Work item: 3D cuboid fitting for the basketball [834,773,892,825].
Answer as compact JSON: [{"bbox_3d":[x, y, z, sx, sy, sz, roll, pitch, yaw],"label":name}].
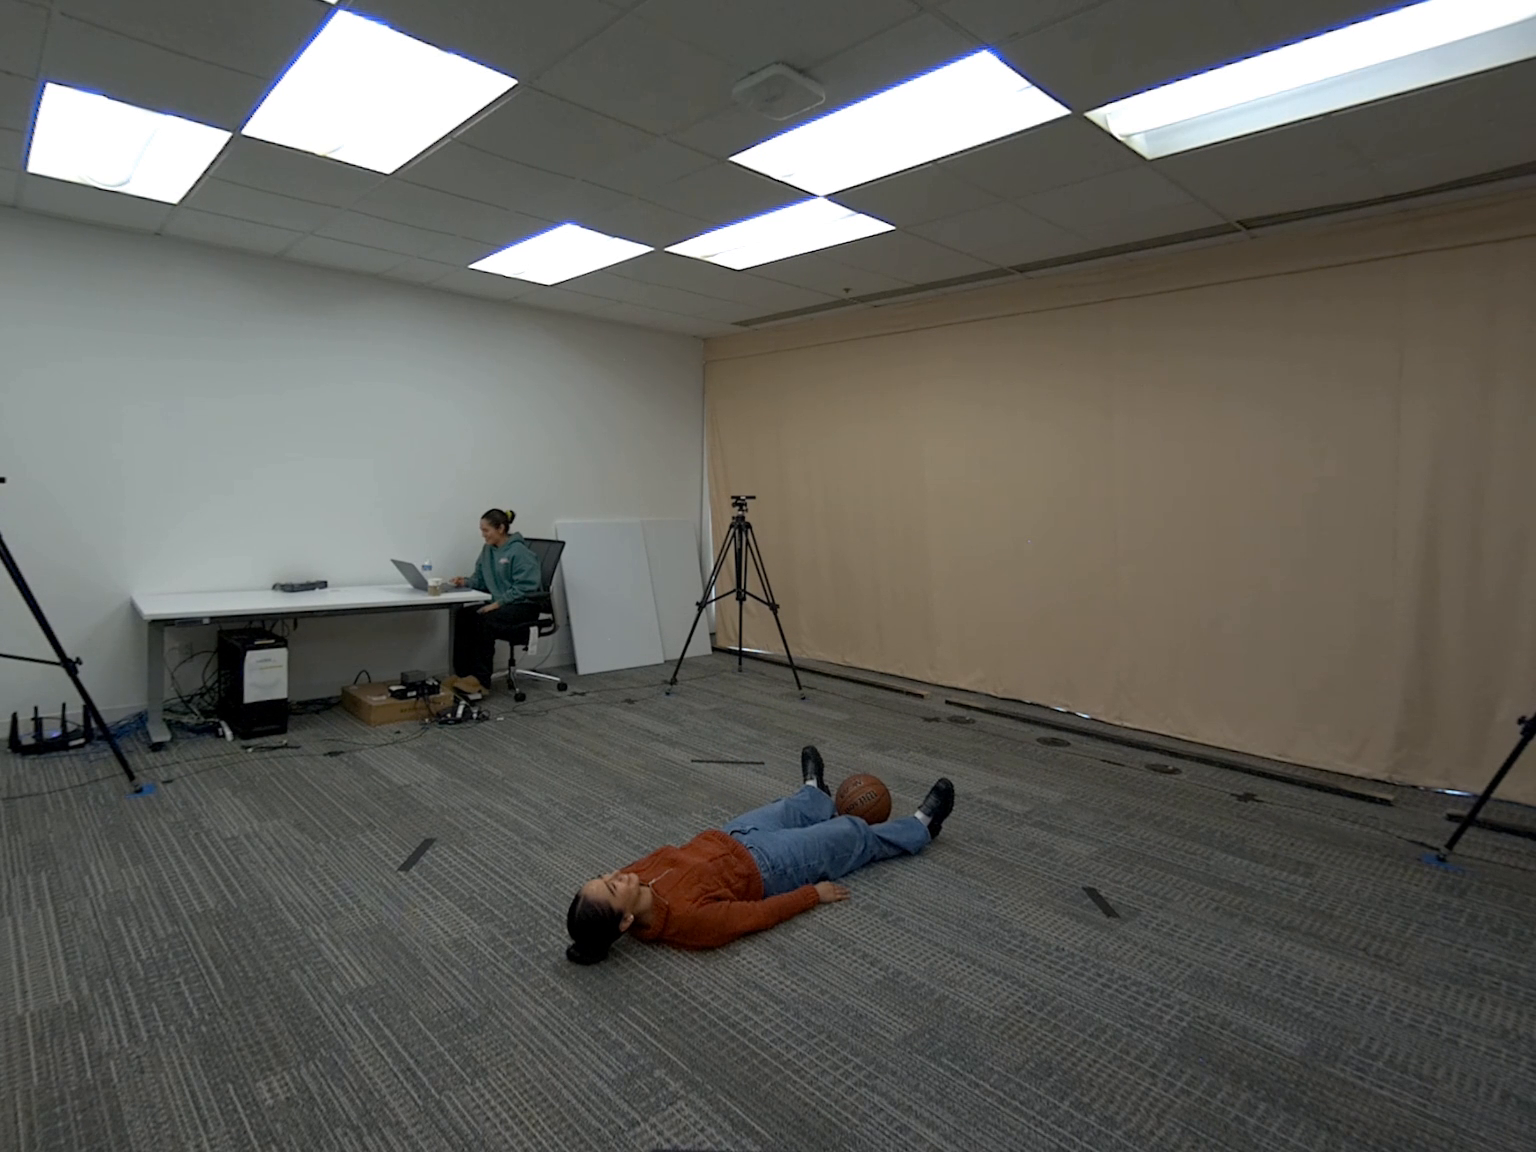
[{"bbox_3d":[0.399,0.959,3.559,0.236,0.235,0.237,1,4,-1],"label":"basketball"}]
